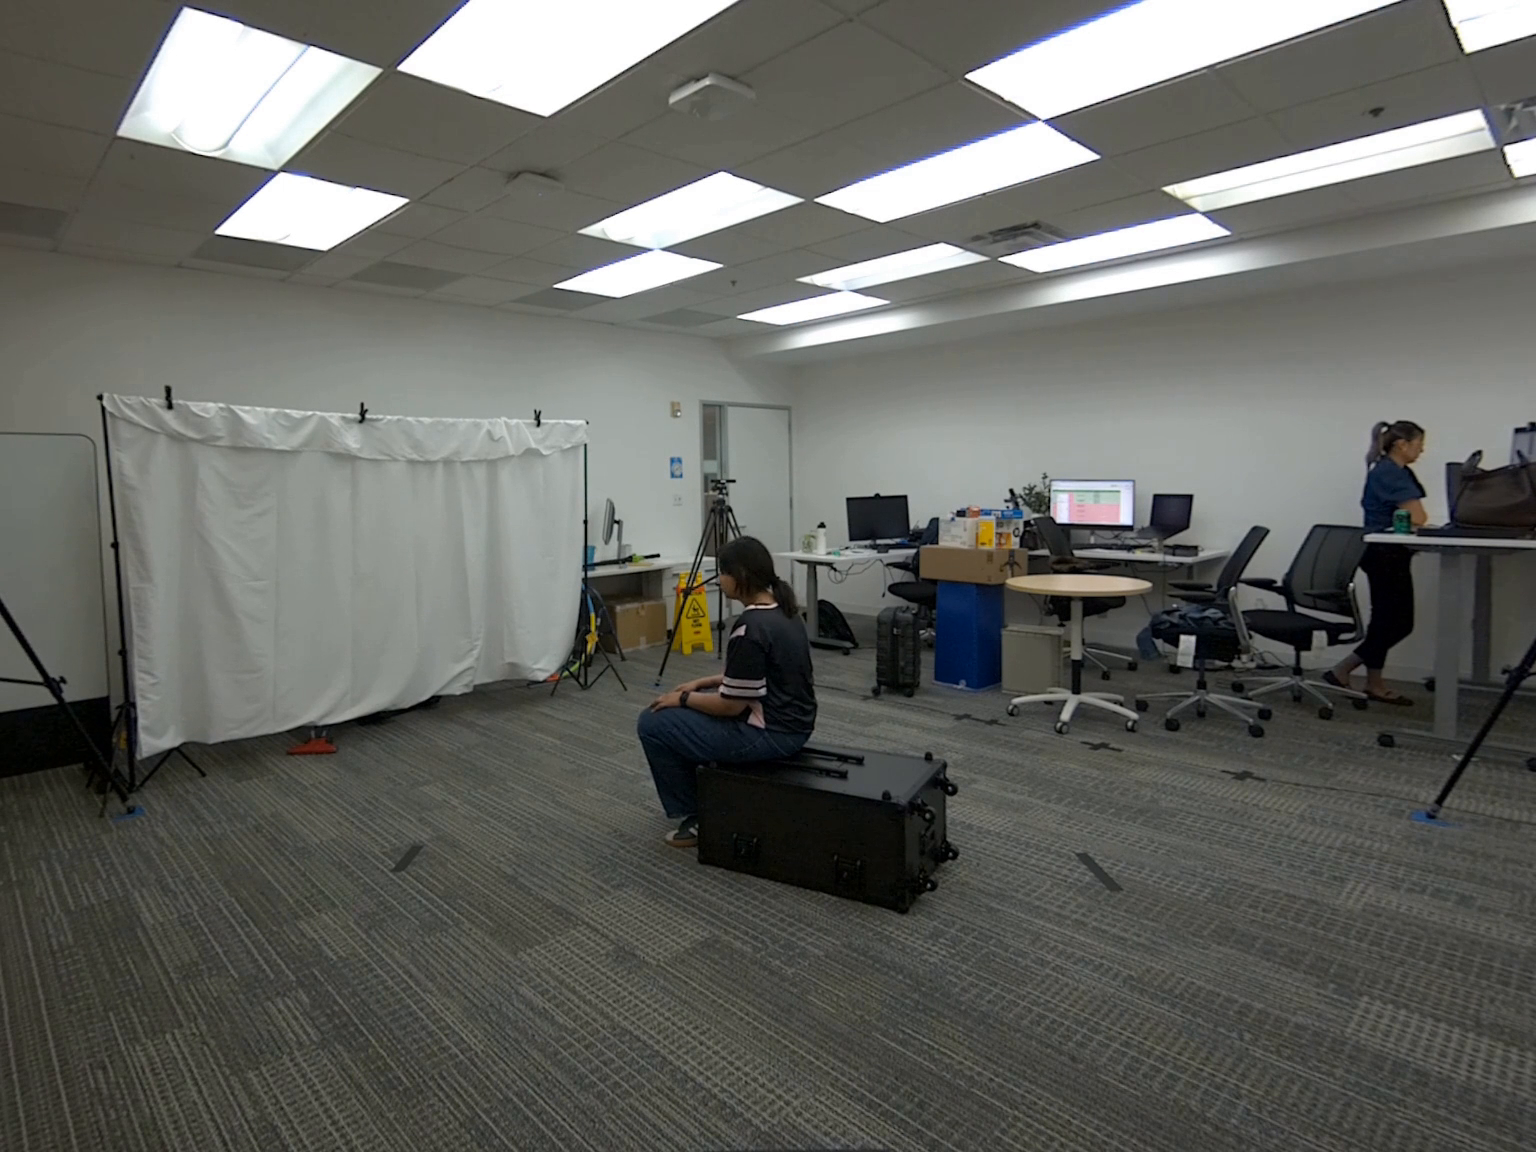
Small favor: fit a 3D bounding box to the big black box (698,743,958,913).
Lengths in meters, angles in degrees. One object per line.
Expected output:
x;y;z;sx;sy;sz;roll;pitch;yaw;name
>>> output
0.237;0.858;3.103;0.891;0.384;0.512;2;4;28;big black box
